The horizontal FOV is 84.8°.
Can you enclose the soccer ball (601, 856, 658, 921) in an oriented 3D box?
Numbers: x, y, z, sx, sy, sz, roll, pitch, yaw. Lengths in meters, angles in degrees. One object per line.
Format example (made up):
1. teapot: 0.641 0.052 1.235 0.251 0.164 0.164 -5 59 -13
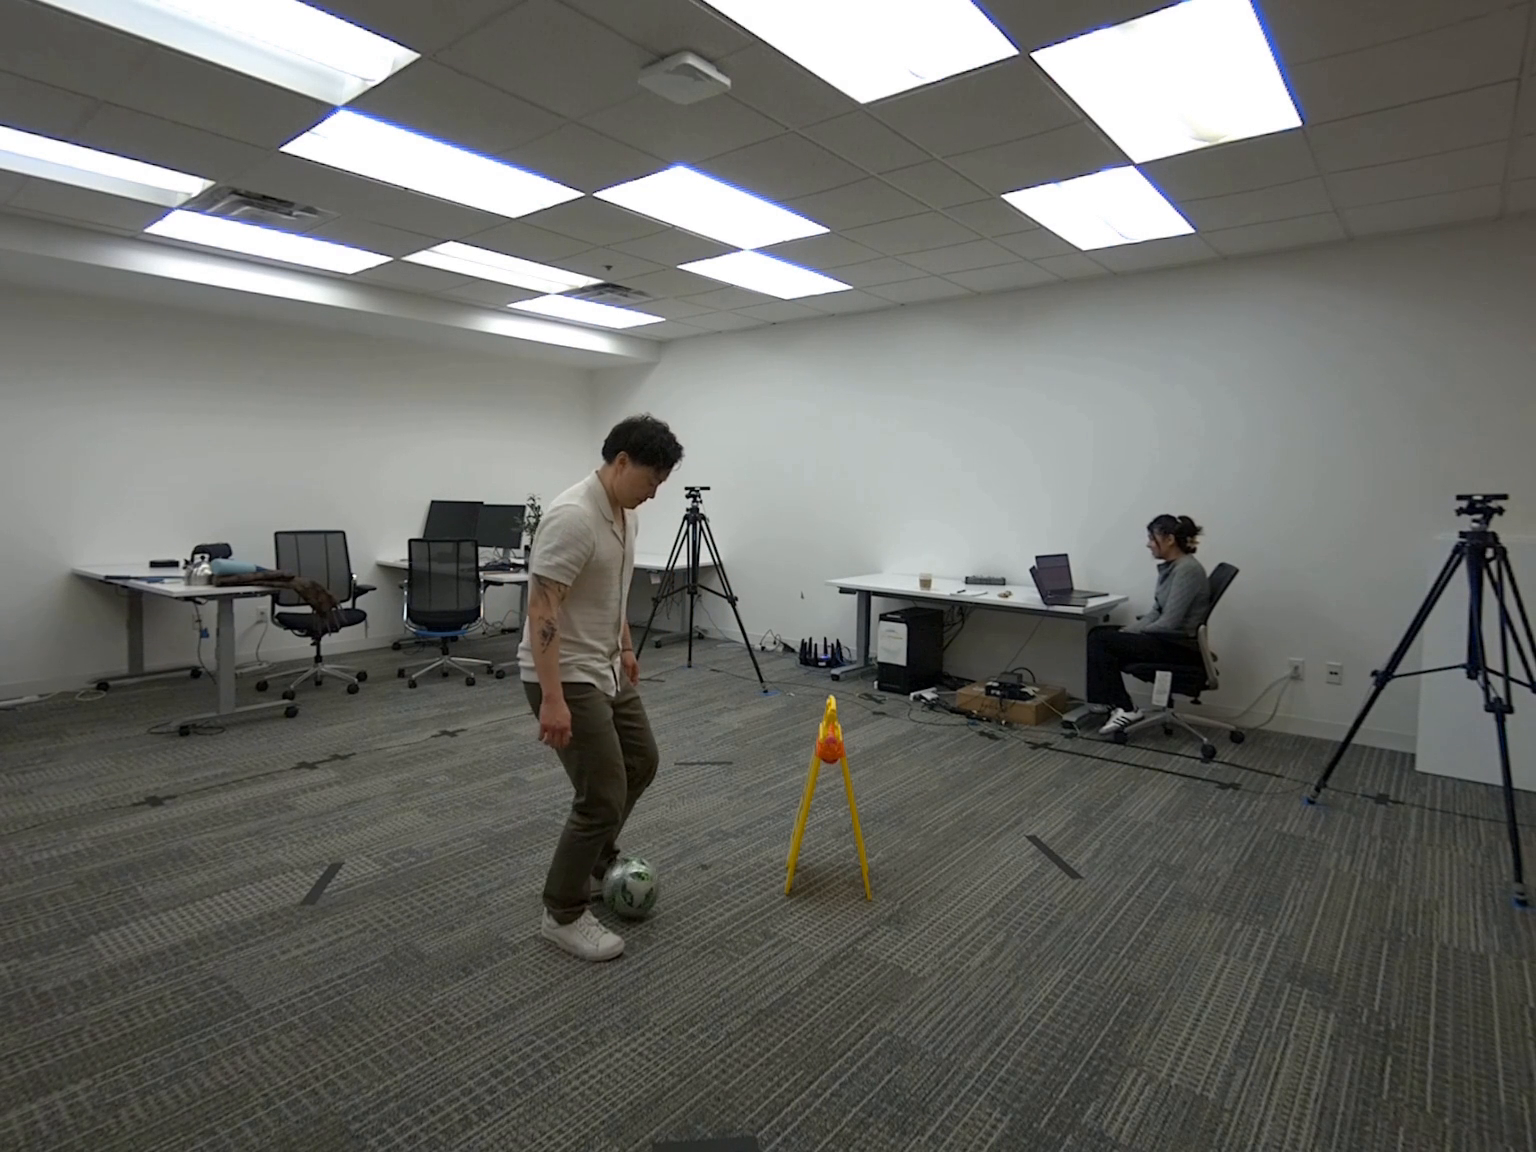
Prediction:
1. soccer ball: -0.445 1.003 2.743 0.187 0.187 0.188 0 4 -2
